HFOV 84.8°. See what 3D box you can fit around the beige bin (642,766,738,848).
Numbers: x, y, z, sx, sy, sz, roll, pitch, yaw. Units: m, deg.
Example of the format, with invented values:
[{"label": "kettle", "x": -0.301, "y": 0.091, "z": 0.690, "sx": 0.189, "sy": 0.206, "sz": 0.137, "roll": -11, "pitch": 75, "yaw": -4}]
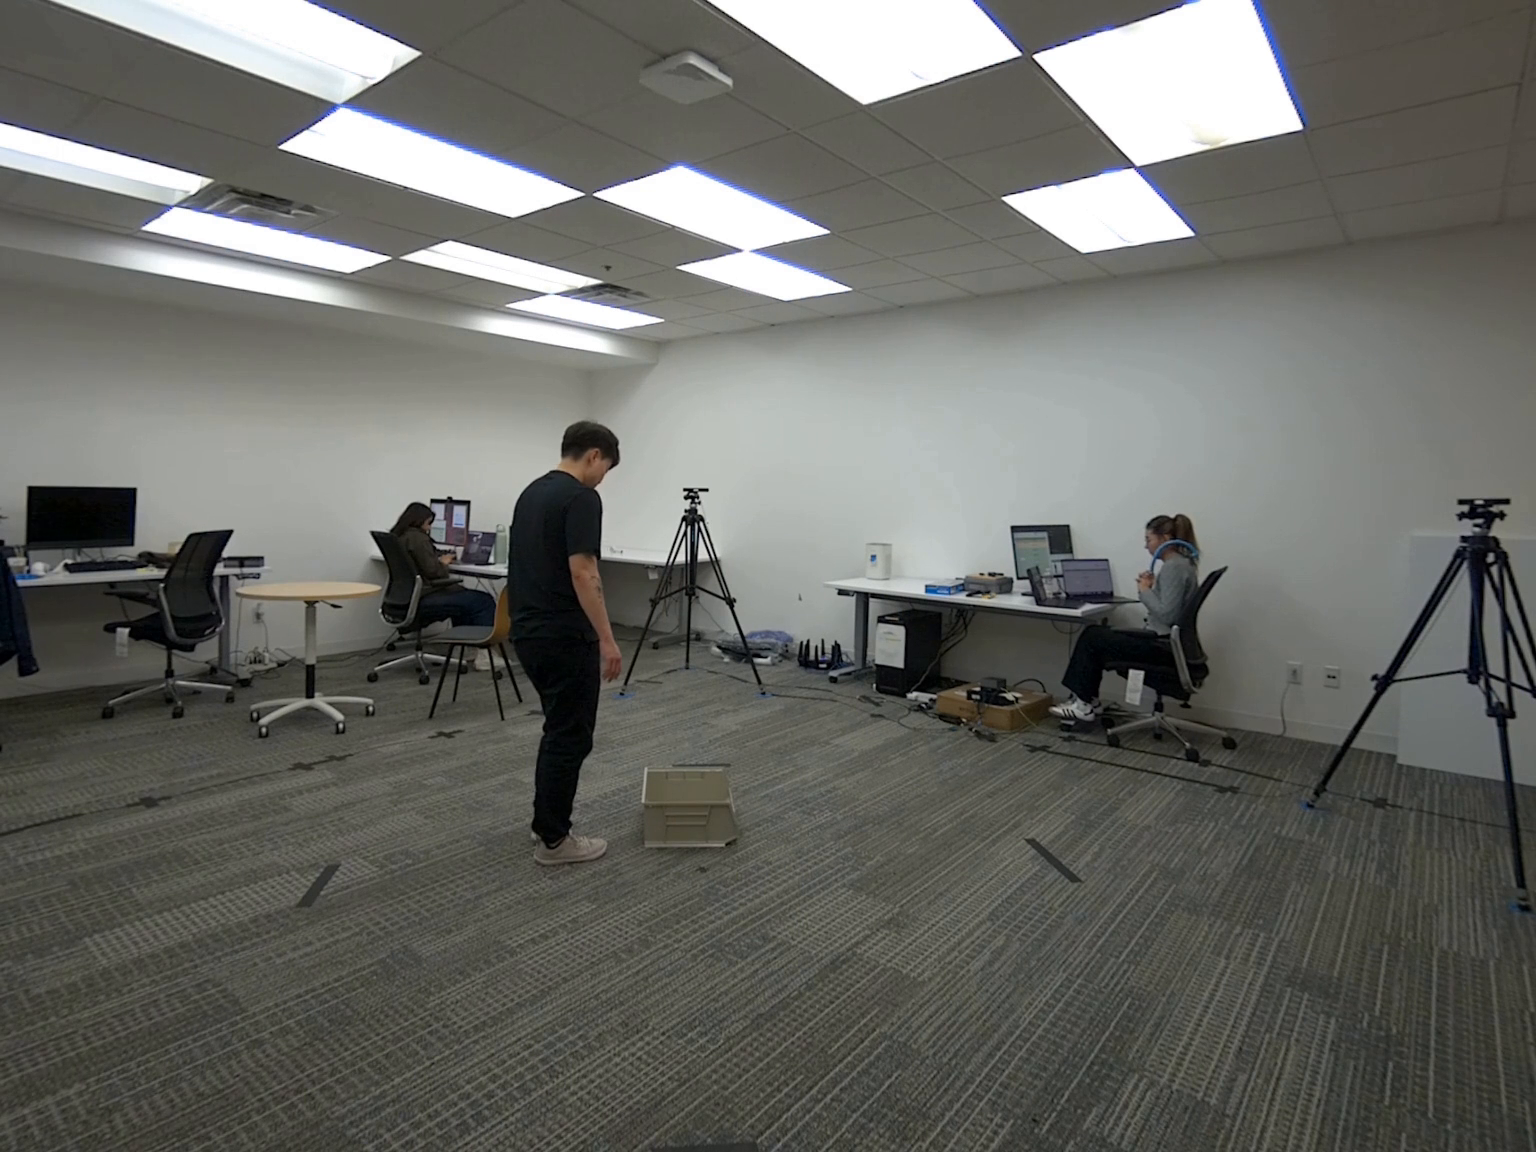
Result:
[{"label": "beige bin", "x": -0.335, "y": 0.947, "z": 3.504, "sx": 0.376, "sy": 0.188, "sz": 0.426, "roll": 0, "pitch": 6, "yaw": -5}]
